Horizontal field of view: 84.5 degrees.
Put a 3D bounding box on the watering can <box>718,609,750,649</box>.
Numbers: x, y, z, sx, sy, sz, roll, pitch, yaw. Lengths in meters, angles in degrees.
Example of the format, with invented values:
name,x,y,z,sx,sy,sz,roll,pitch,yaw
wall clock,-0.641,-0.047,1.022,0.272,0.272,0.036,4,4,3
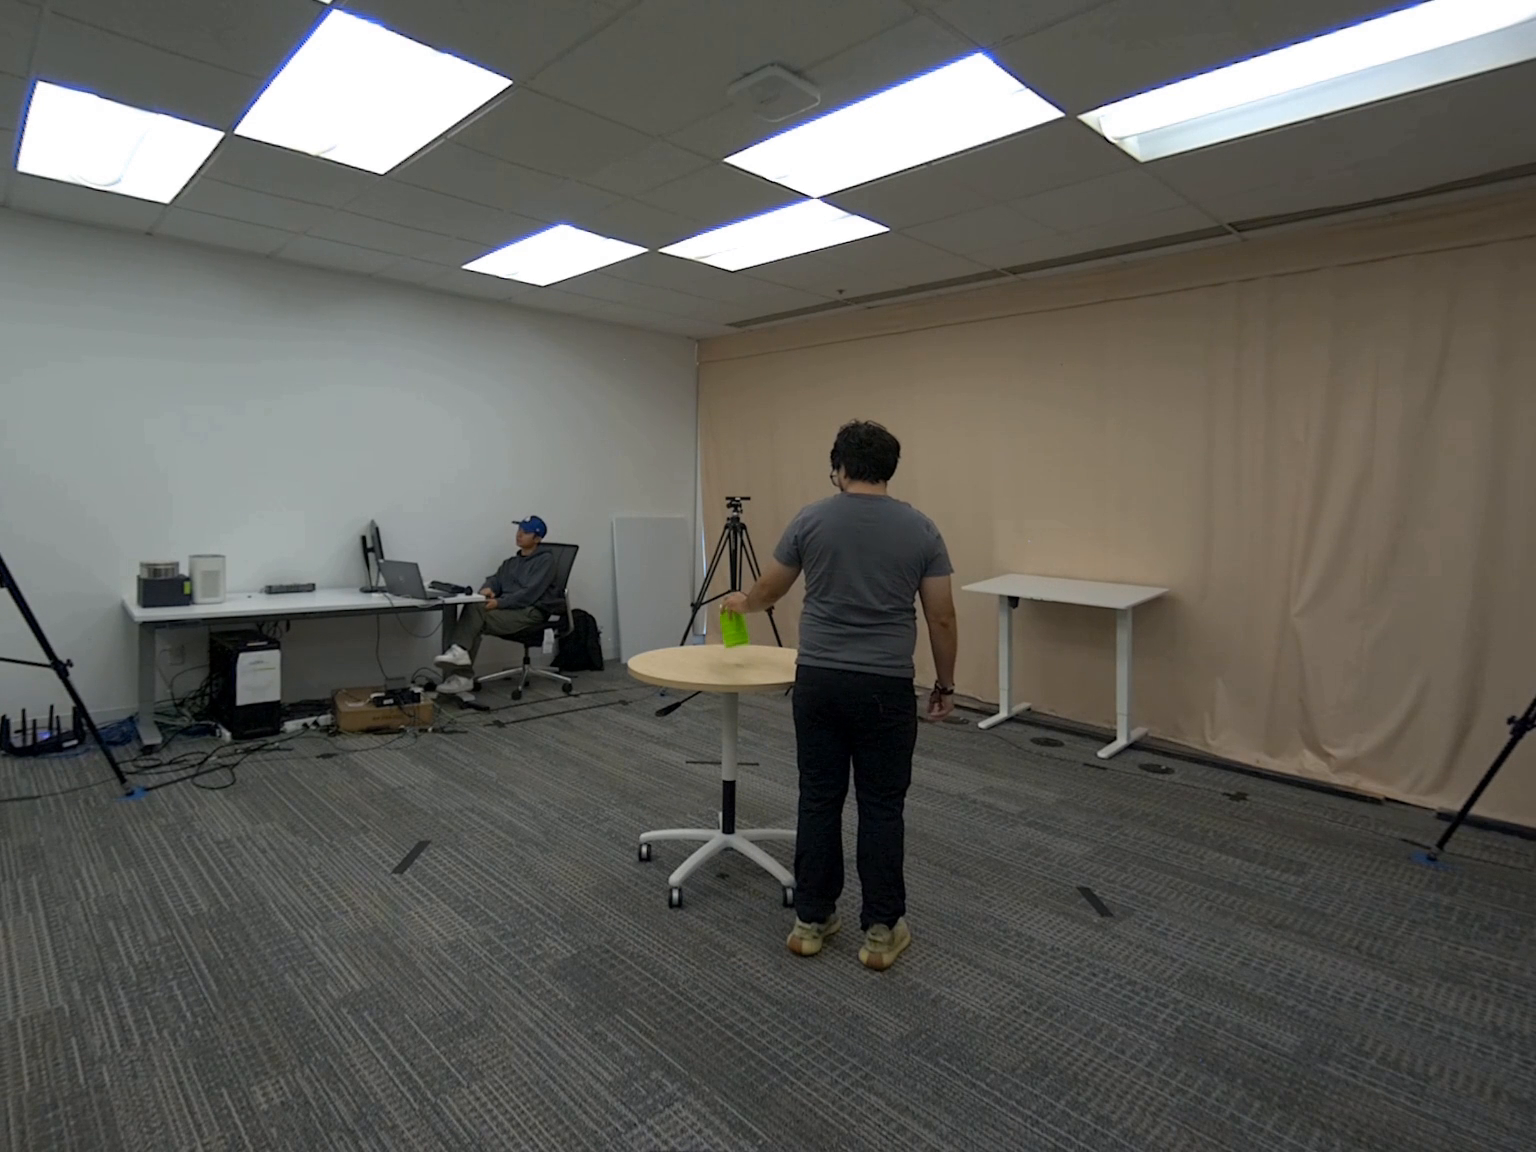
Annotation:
name,x,y,z,sx,sy,sz,roll,pitch,yaw
watering can,-0.132,0.176,3.106,0.098,0.178,0.275,-13,-8,2
